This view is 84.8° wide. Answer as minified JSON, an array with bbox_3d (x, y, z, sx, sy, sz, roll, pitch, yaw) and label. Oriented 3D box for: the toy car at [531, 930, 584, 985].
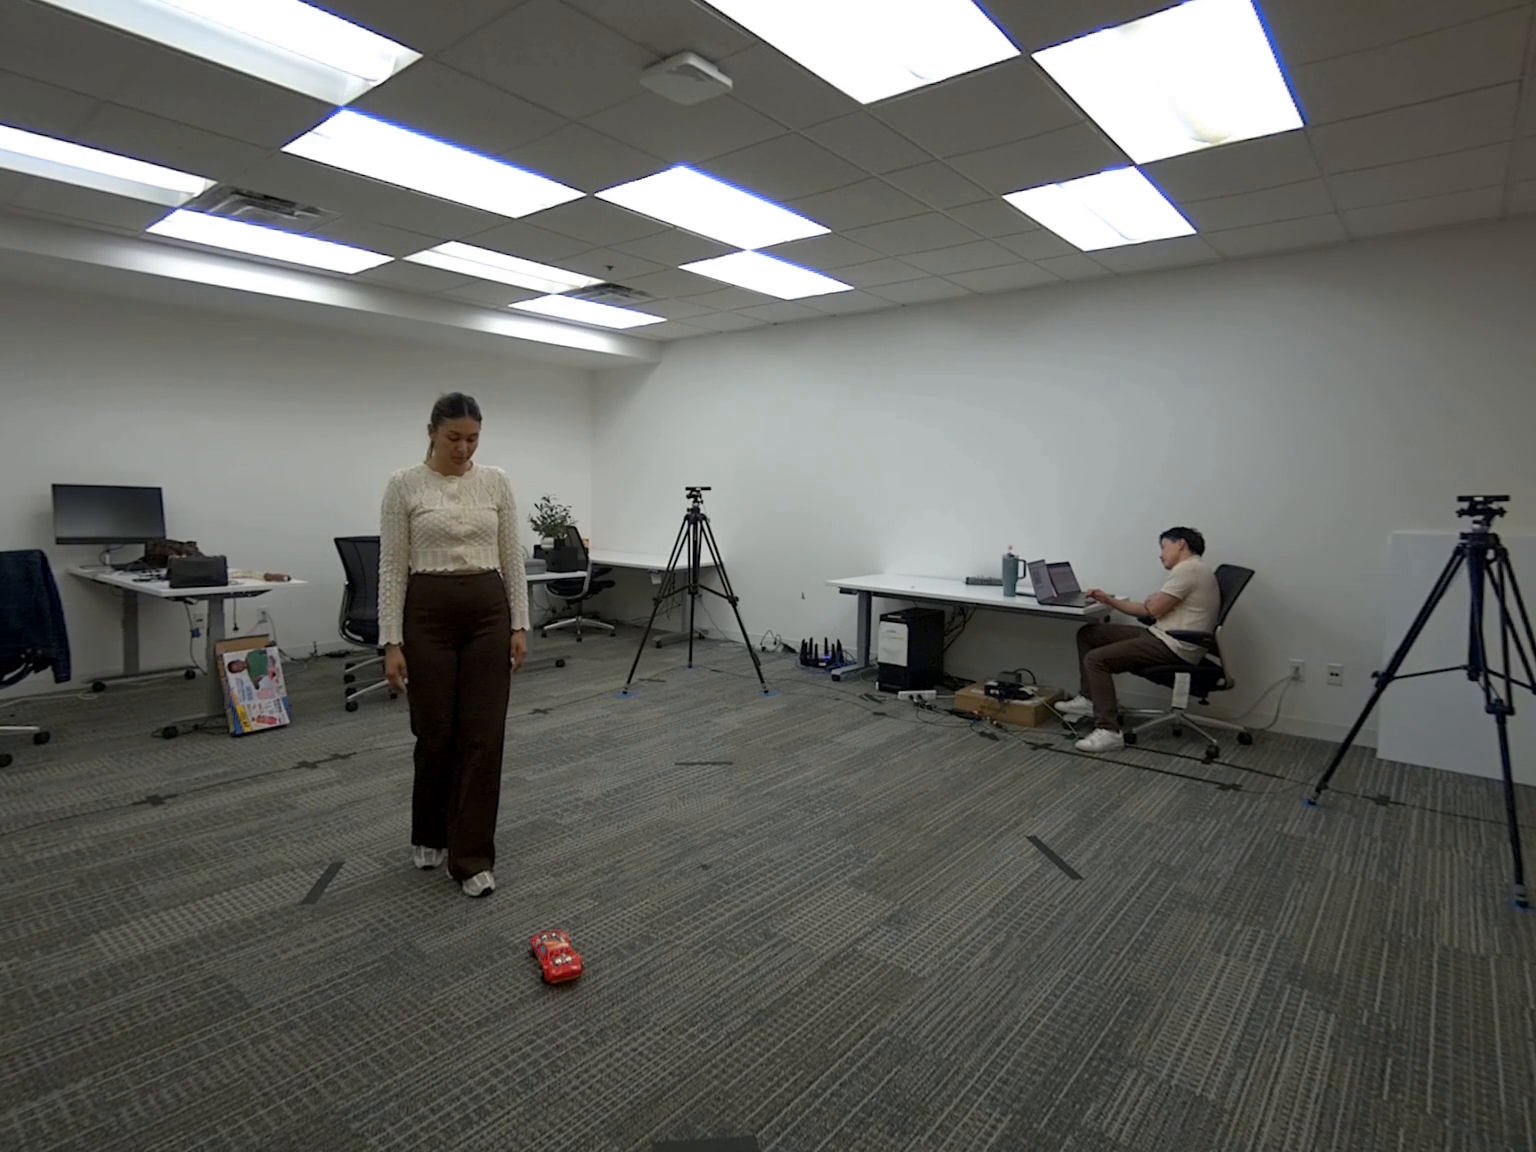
[{"bbox_3d":[-0.616,1.096,2.441,0.127,0.084,0.259,-2,-5,-27],"label":"toy car"}]
